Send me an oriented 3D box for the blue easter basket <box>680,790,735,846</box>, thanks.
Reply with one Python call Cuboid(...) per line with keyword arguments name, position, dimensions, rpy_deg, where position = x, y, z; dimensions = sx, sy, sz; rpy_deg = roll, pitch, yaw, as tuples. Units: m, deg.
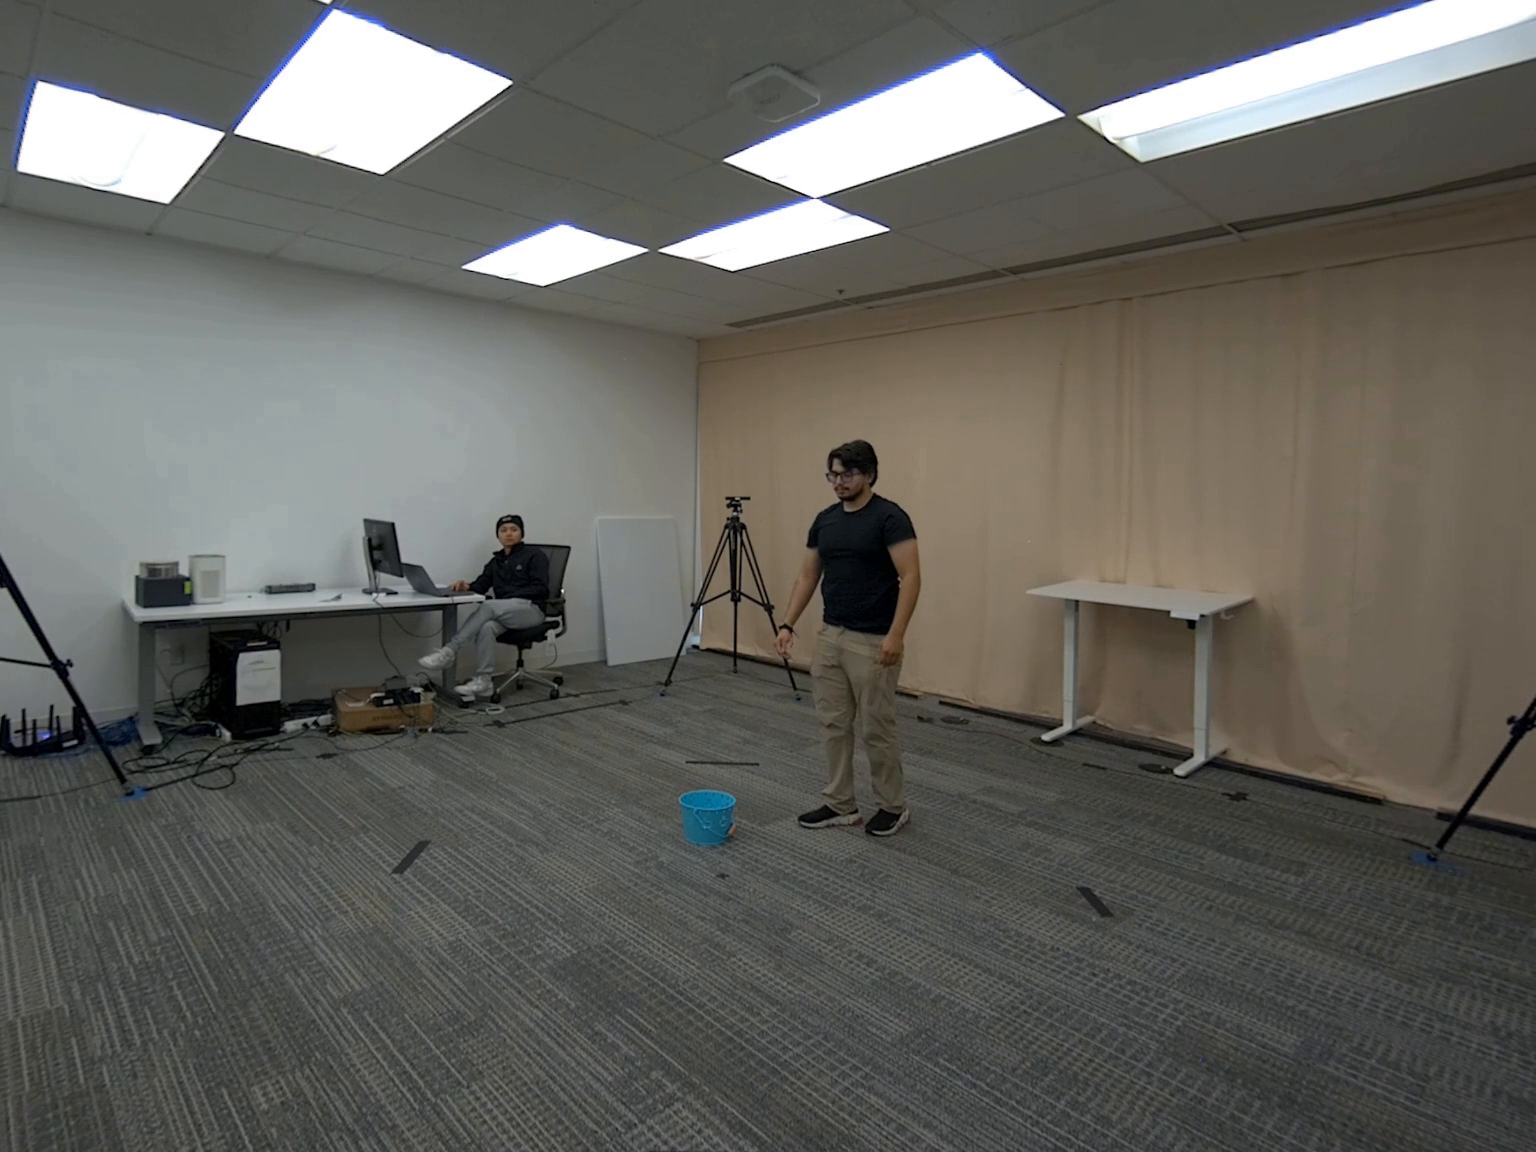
Cuboid(name="blue easter basket", position=(-0.257, 0.996, 3.466), dimensions=(0.243, 0.155, 0.244), rpy_deg=(1, 4, -1))
